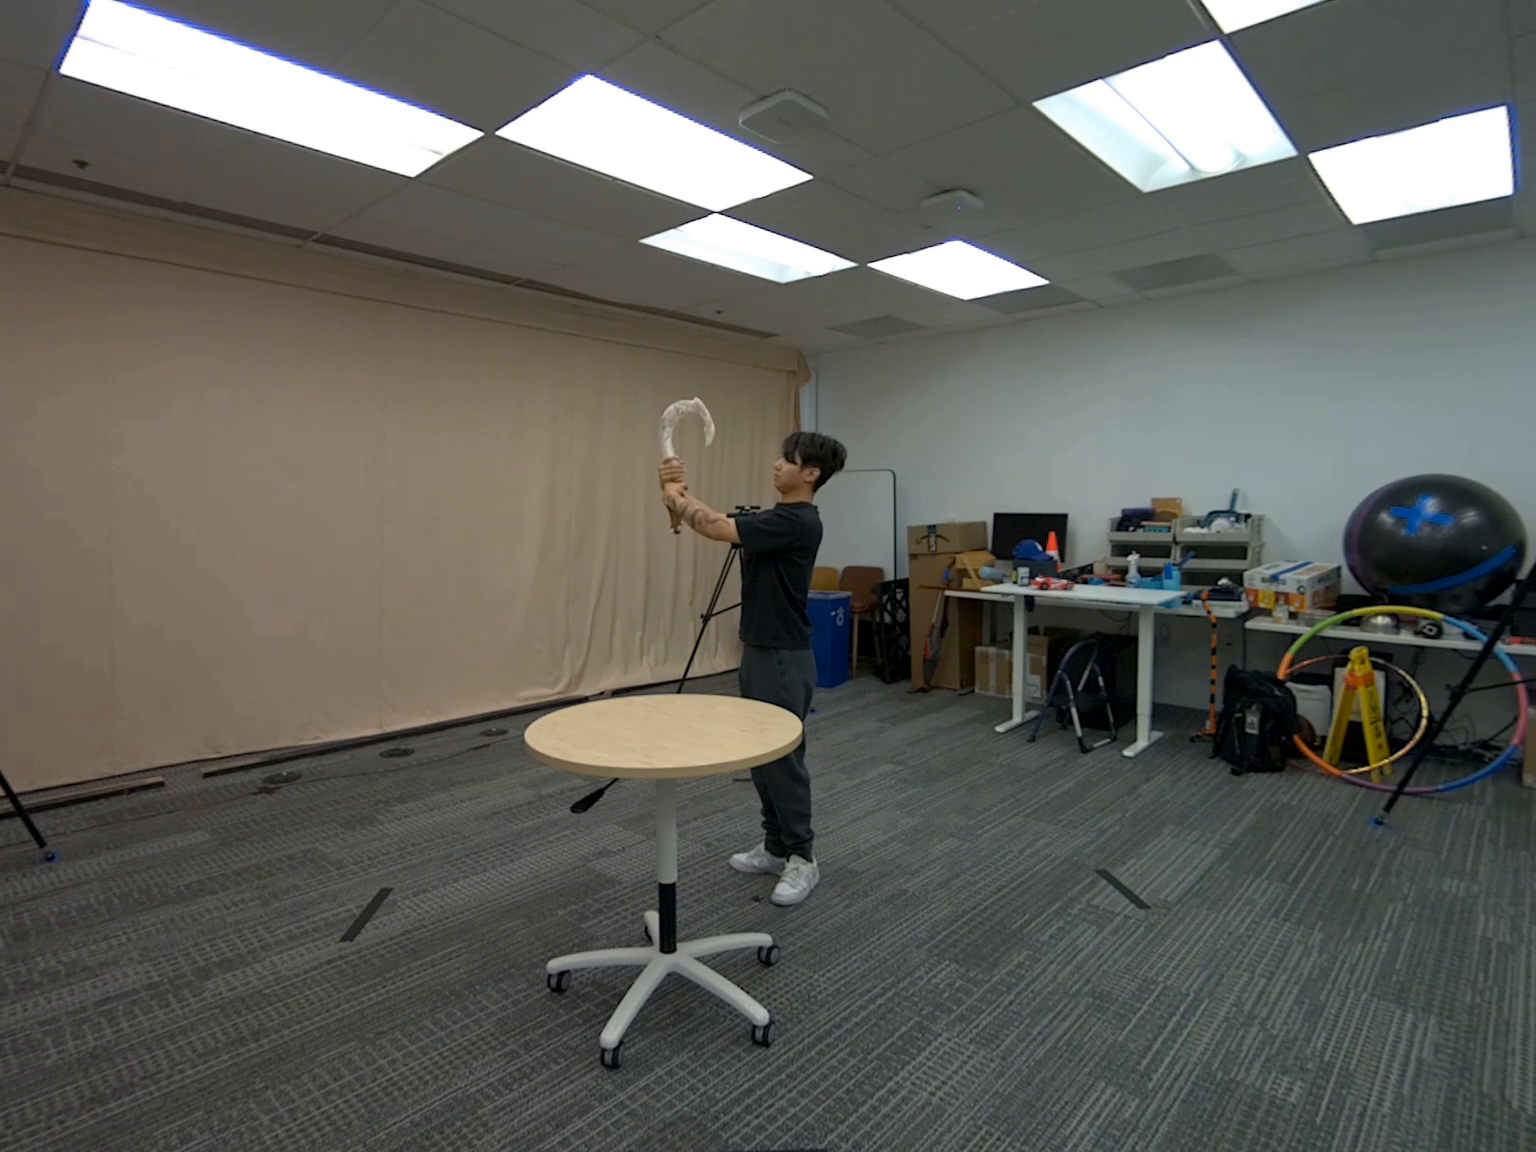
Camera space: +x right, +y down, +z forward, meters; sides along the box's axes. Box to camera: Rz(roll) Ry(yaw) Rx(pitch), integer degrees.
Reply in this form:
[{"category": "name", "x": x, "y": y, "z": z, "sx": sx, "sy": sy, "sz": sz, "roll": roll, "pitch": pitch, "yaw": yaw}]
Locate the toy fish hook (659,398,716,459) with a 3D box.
[{"category": "toy fish hook", "x": -0.296, "y": -0.409, "z": 3.095, "sx": 0.230, "sy": 0.510, "sz": 0.047, "roll": -9, "pitch": -10, "yaw": 27}]
